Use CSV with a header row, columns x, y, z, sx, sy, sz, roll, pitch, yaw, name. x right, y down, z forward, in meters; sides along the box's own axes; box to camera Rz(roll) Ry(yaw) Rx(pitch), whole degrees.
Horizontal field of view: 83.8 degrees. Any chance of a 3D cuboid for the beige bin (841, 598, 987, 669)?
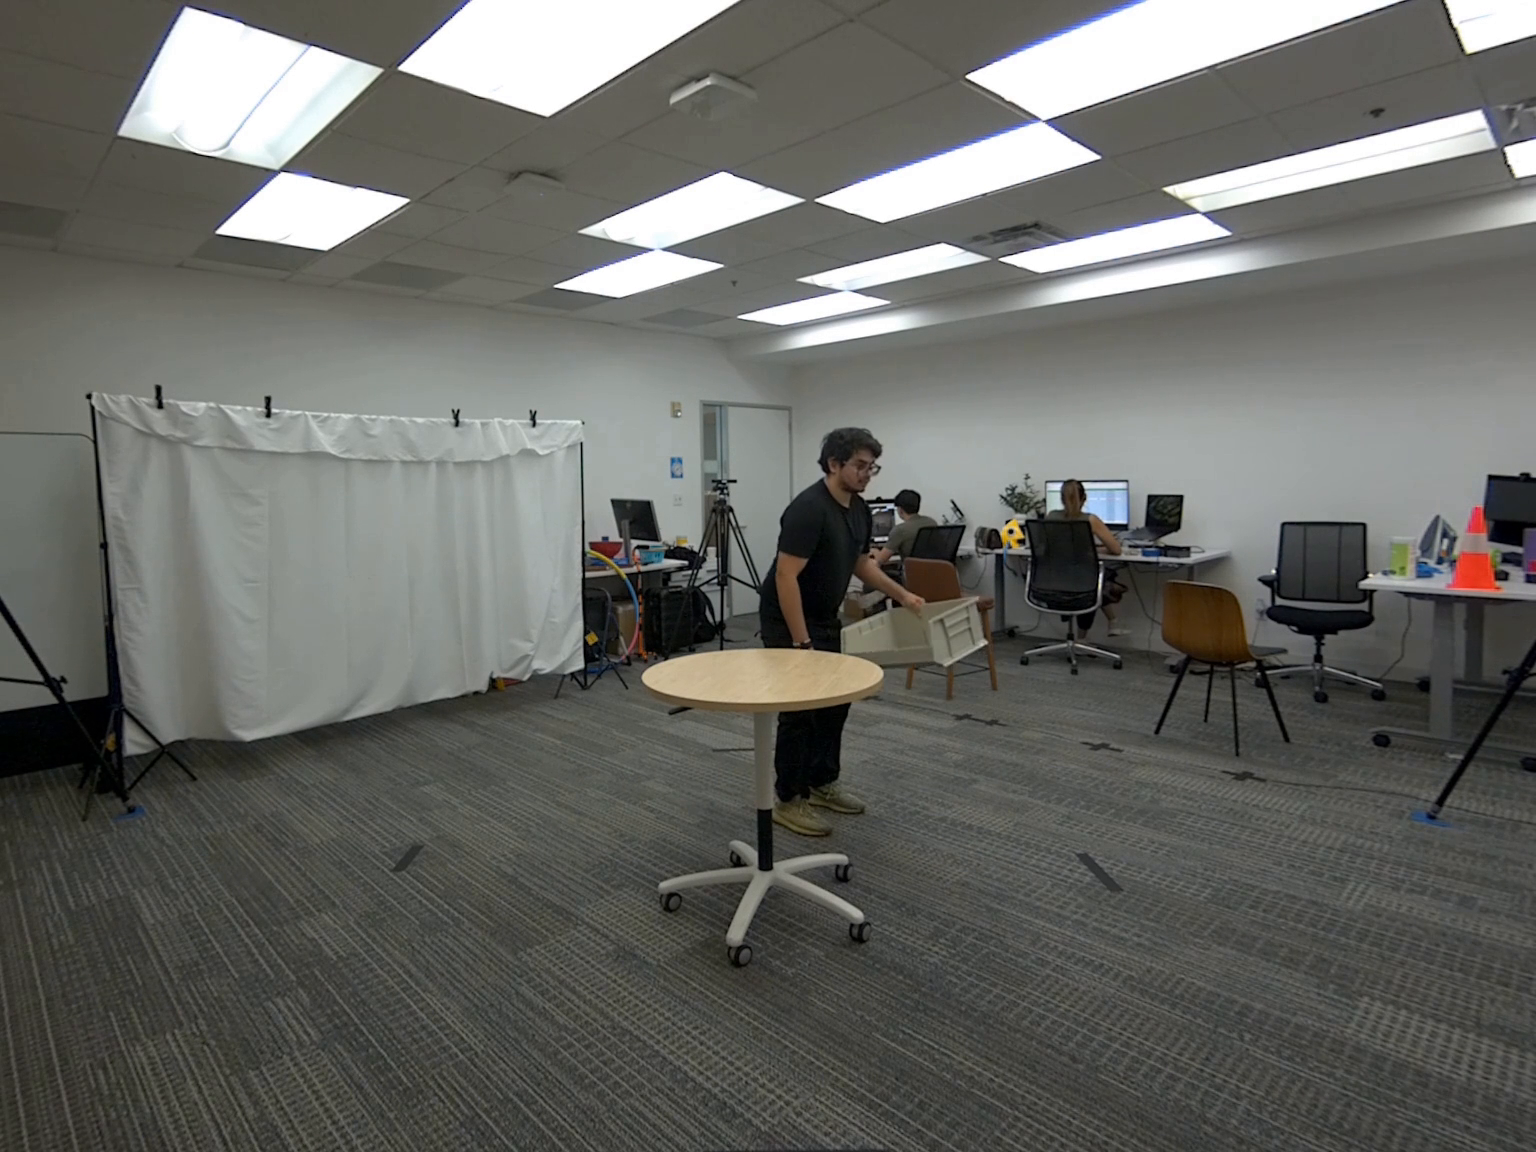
x,y,z,sx,sy,sz,roll,pitch,yaw,name
0.552,0.237,3.265,0.369,0.189,0.431,-15,2,-44,beige bin
